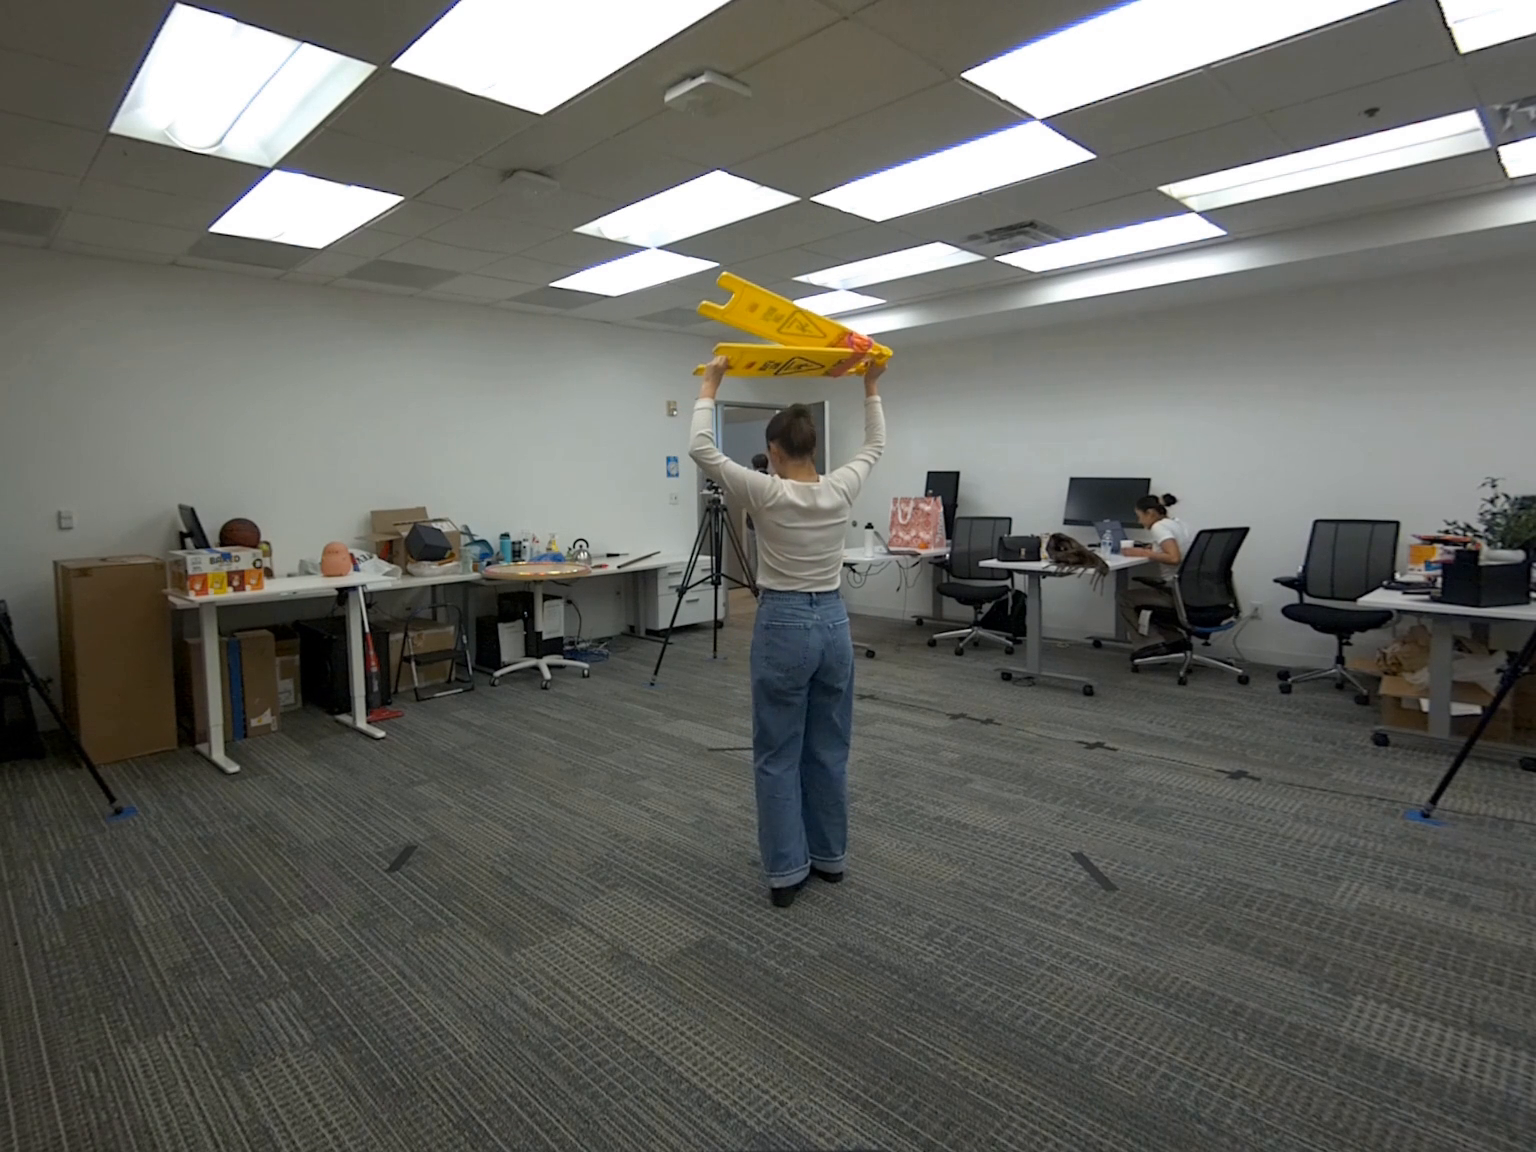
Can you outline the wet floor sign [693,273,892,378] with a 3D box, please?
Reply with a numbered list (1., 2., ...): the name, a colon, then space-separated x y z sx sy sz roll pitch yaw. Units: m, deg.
1. wet floor sign: 0.107 -0.788 2.922 0.633 0.293 0.285 7 -13 -21
